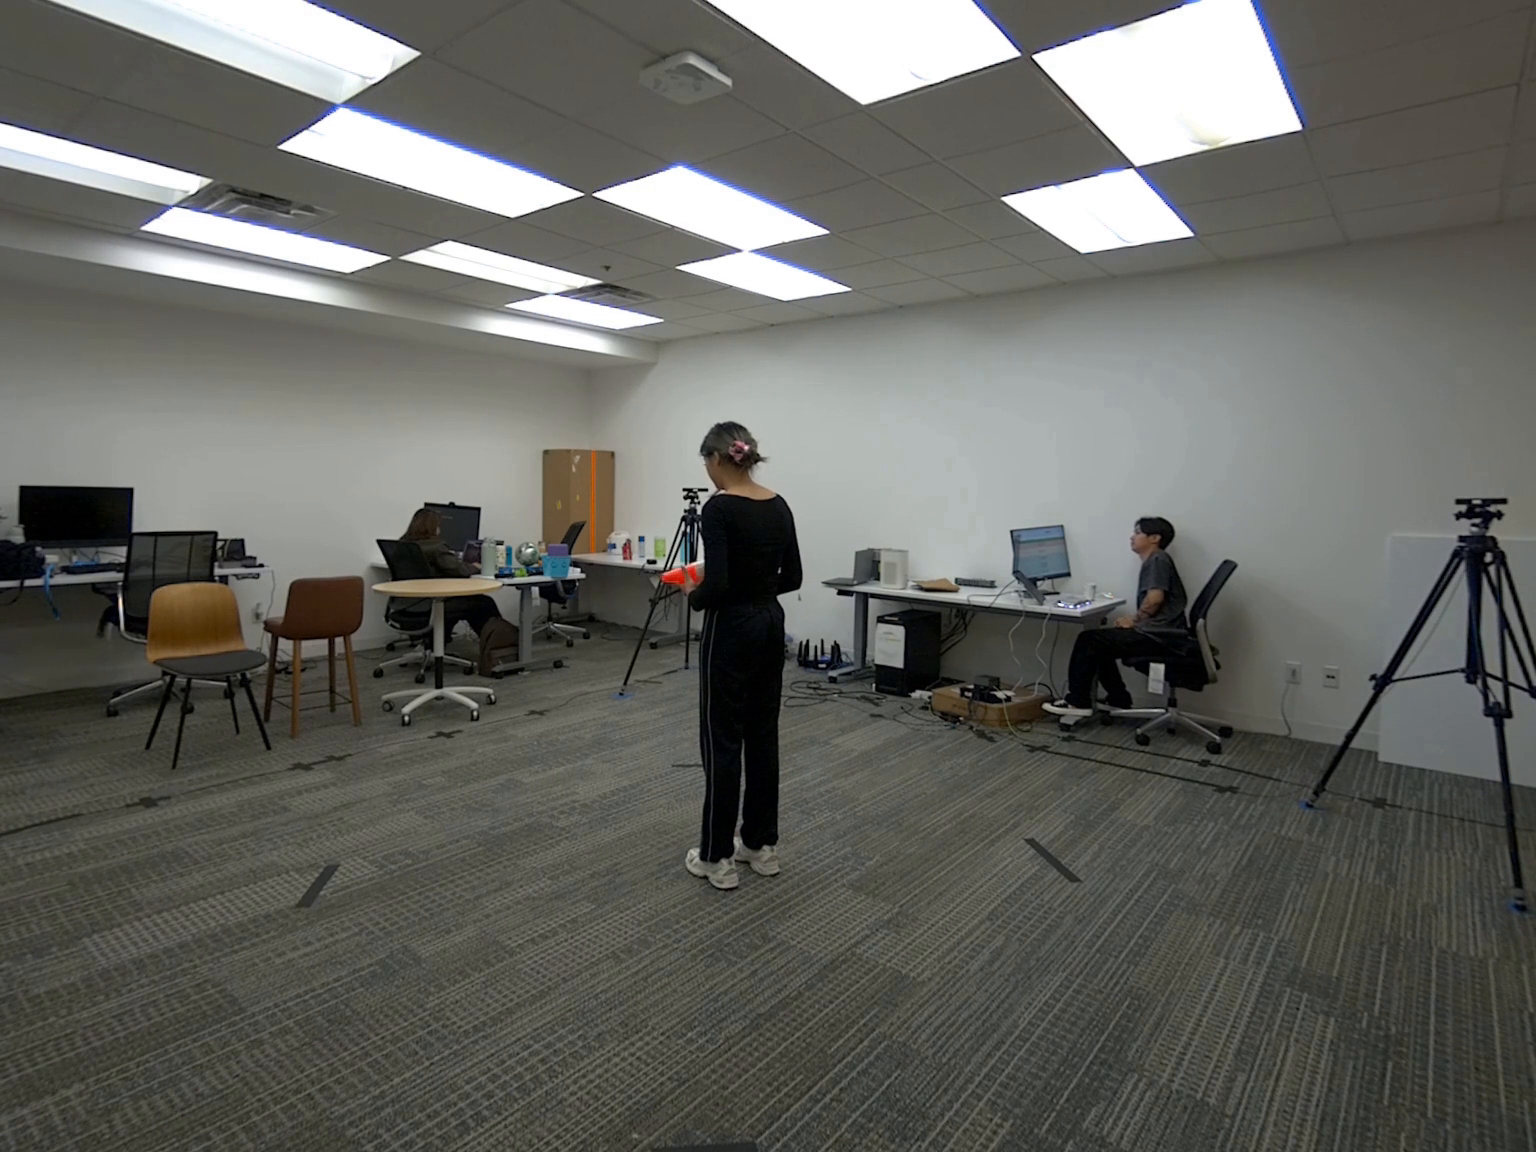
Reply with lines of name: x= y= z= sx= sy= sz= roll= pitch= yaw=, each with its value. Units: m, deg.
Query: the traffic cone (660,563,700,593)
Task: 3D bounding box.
traffic cone: x=-0.248 y=-0.017 z=3.213 sx=0.375 sy=0.206 sz=0.207 roll=-11 pitch=-13 yaw=-32
